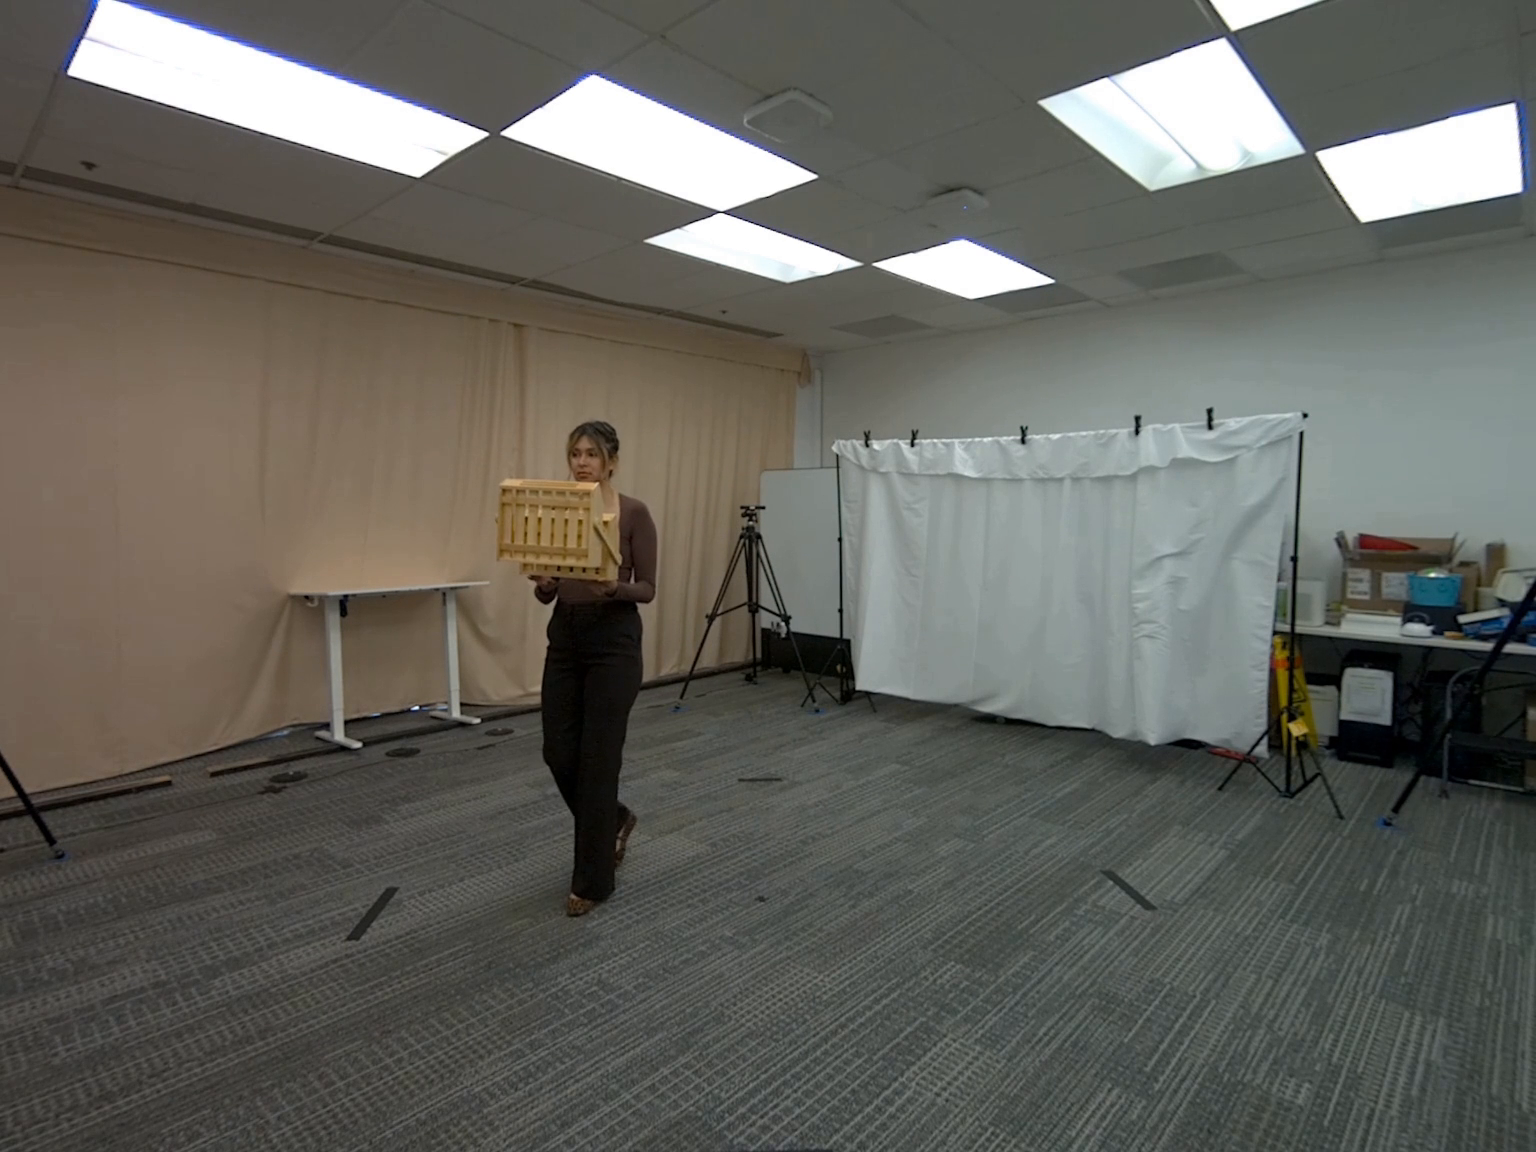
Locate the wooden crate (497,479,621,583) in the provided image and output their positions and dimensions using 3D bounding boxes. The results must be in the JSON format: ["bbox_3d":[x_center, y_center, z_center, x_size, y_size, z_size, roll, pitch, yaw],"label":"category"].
[{"bbox_3d":[-0.650,-0.142,2.631,0.328,0.301,0.271,4,3,9],"label":"wooden crate"}]
